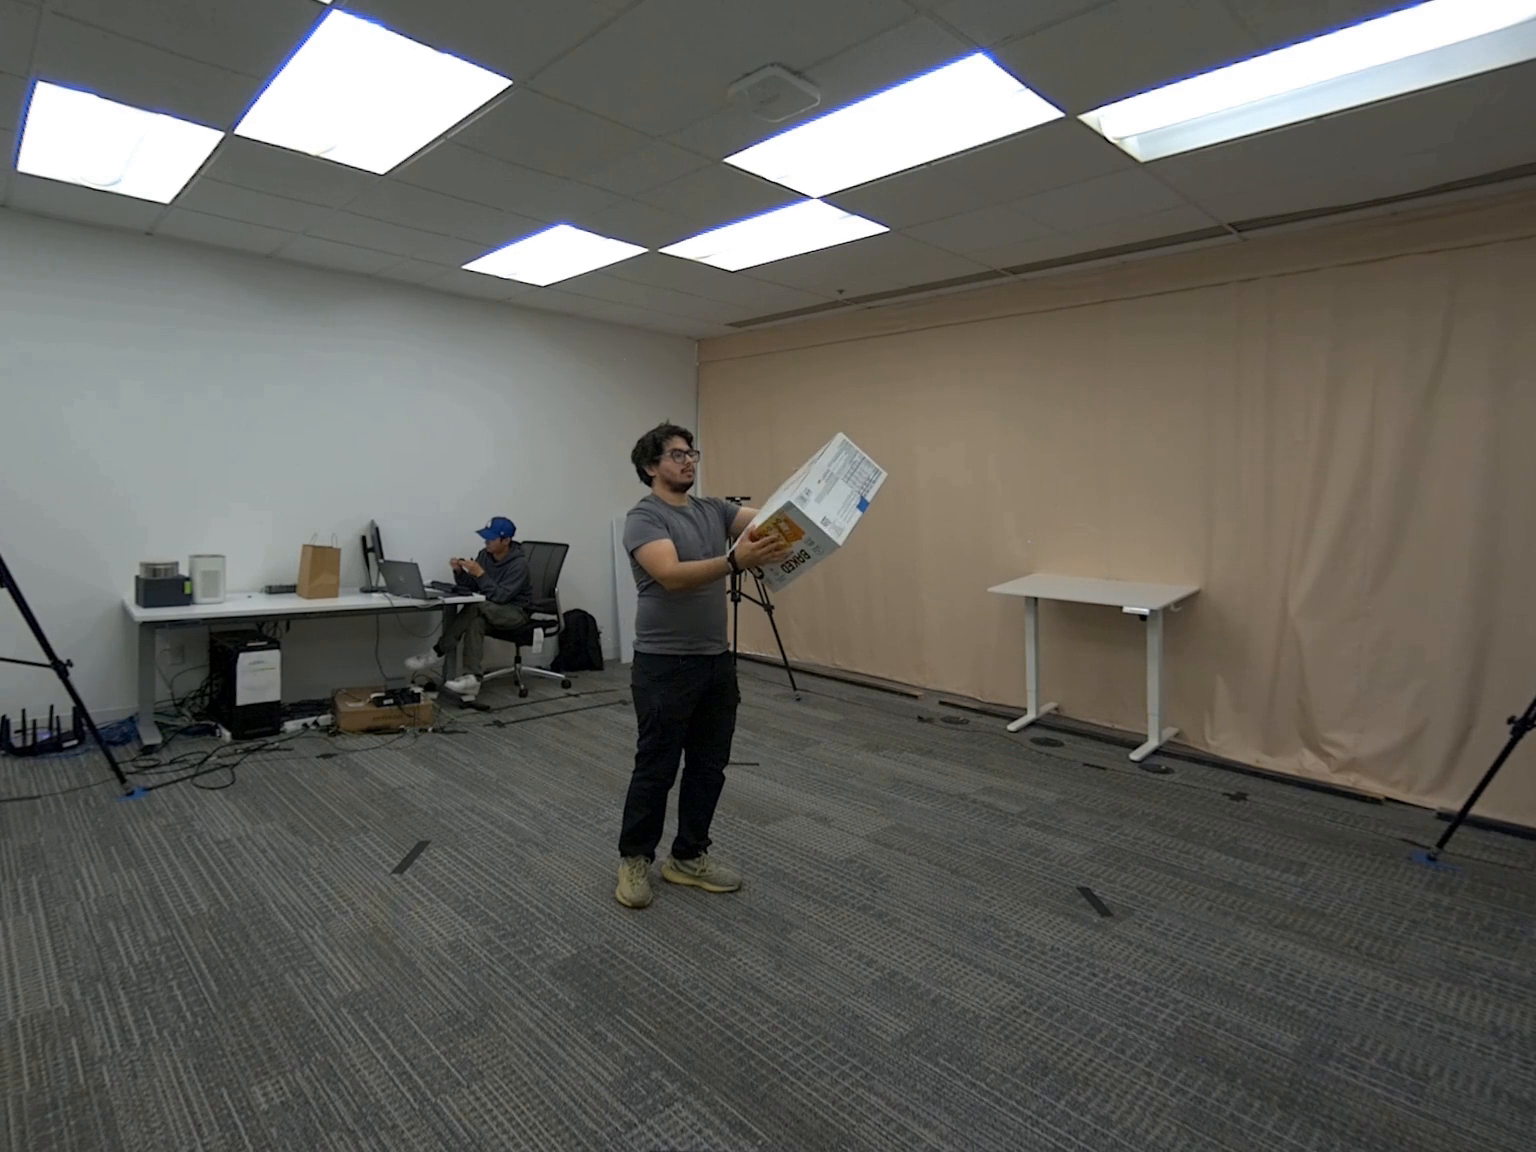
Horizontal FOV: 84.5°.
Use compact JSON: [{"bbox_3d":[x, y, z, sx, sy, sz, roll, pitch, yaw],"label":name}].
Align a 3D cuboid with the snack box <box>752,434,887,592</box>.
[{"bbox_3d":[0.112,-0.189,2.624,0.204,0.341,0.406,41,-35,-7],"label":"snack box"}]
